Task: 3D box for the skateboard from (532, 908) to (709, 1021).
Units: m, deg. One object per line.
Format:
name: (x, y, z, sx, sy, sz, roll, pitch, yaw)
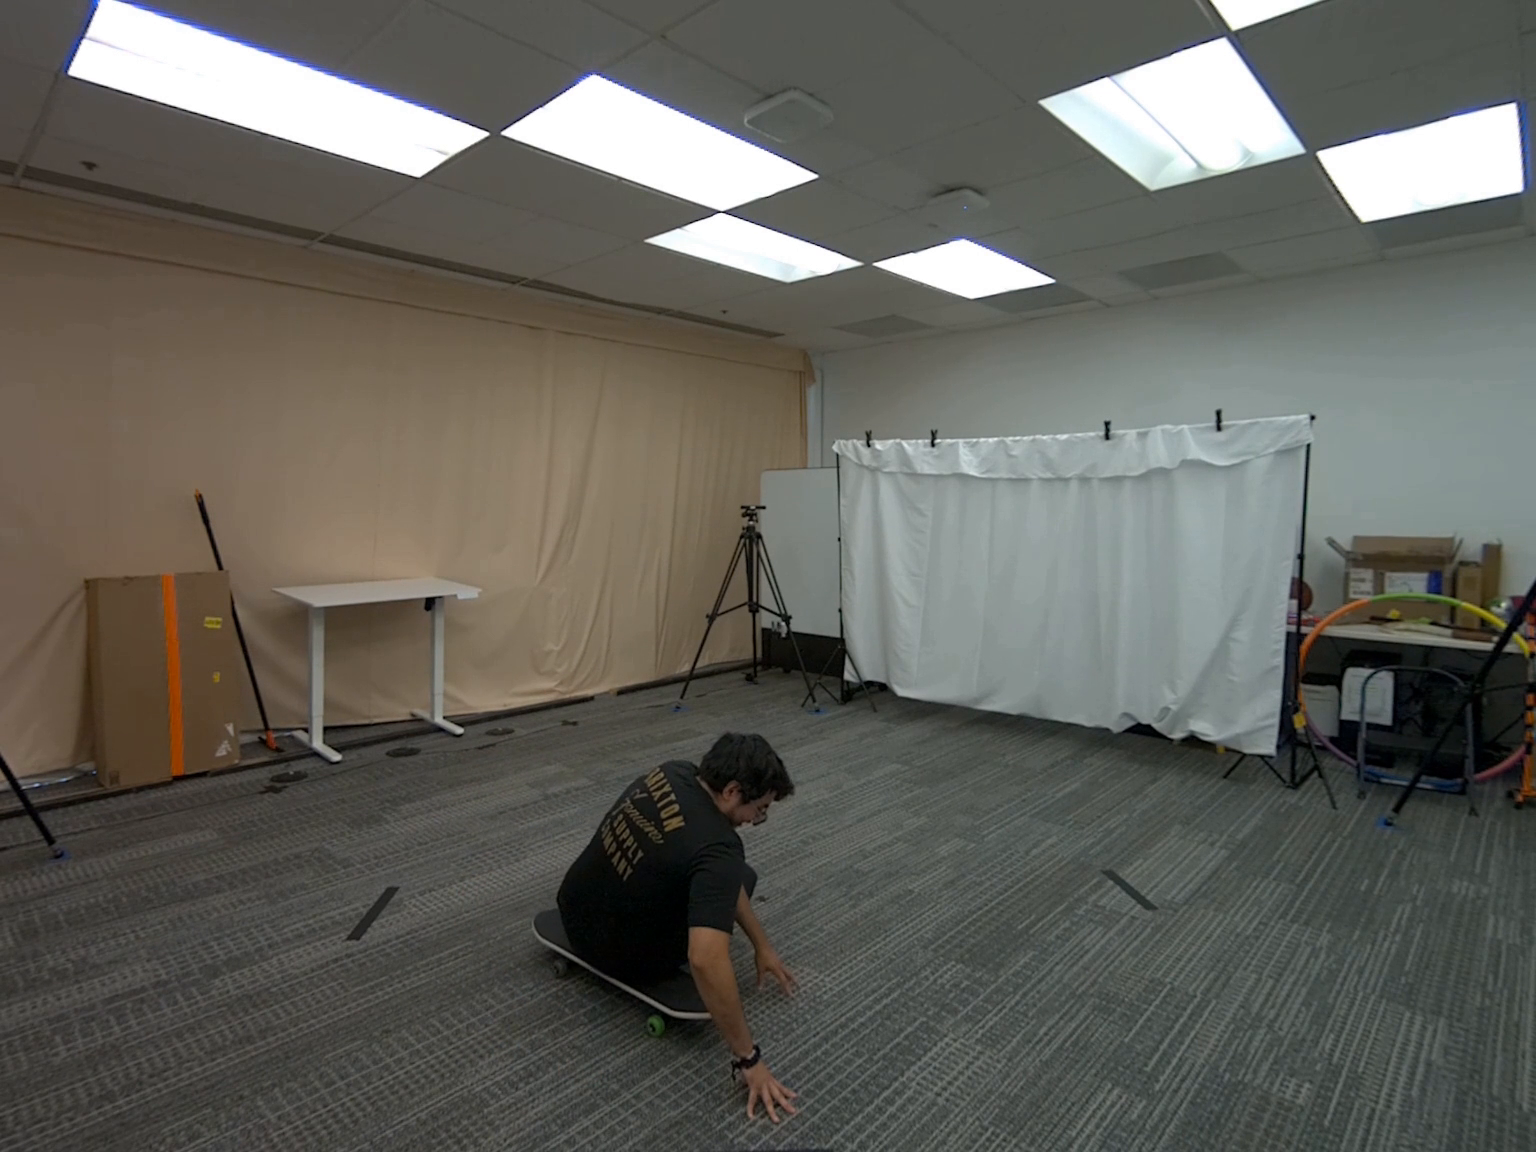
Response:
skateboard: (-0.398, 1.138, 2.414, 0.811, 0.110, 0.187, 4, -1, 41)
